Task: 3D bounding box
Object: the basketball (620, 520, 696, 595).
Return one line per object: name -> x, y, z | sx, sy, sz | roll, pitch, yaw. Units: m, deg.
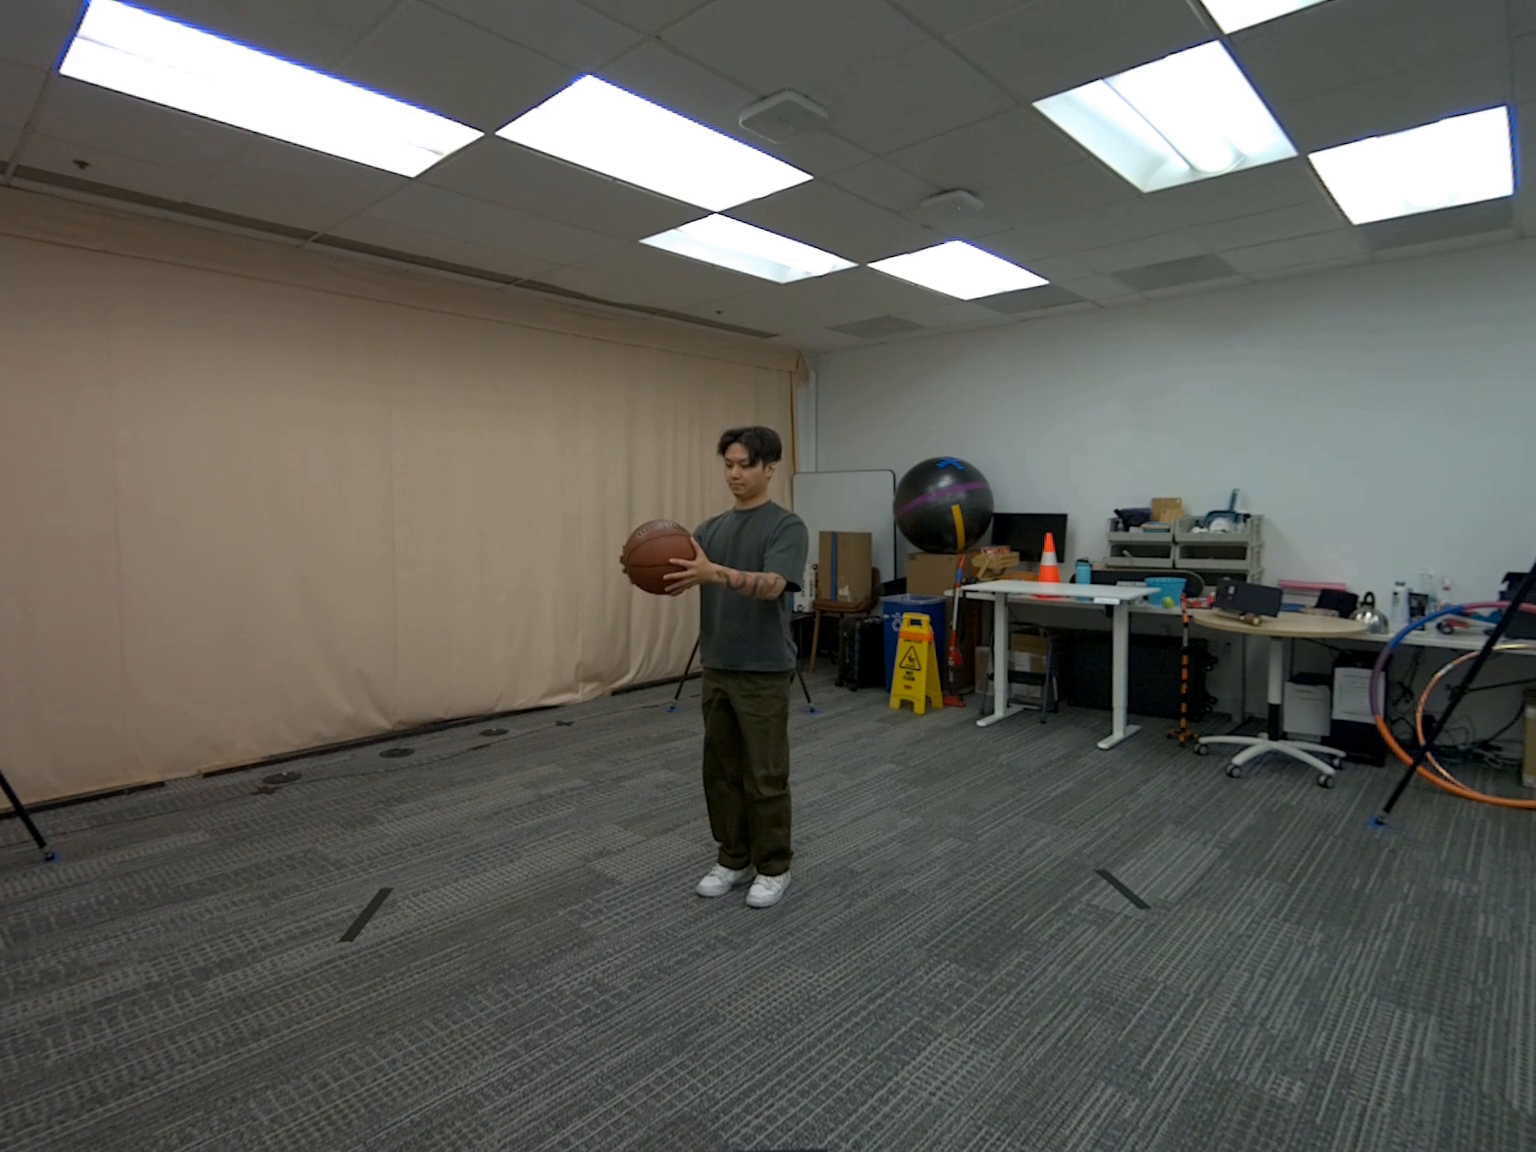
basketball -> -0.345, -0.055, 2.685 | 0.236, 0.235, 0.237 | 0, 4, -2
